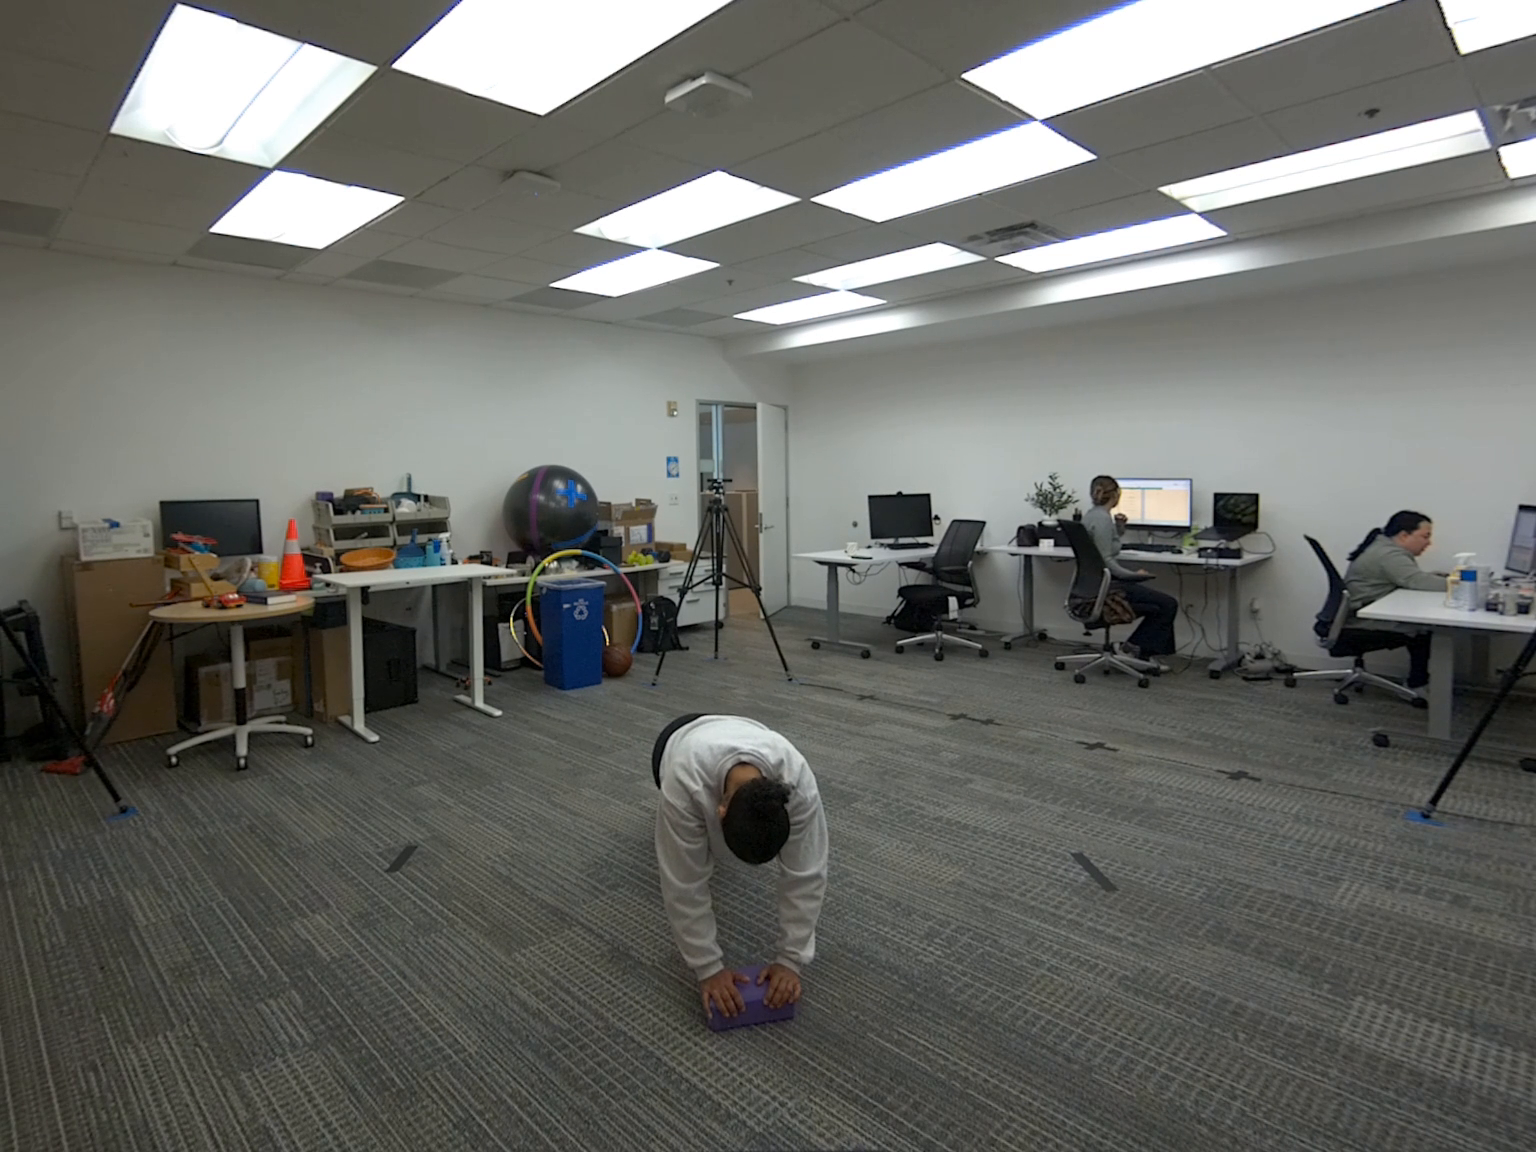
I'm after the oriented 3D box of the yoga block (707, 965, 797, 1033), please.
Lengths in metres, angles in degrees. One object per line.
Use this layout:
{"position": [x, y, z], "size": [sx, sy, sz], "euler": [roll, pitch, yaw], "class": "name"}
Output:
{"position": [-0.047, 1.122, 2.254], "size": [0.226, 0.076, 0.151], "euler": [-2, 7, -13], "class": "yoga block"}
